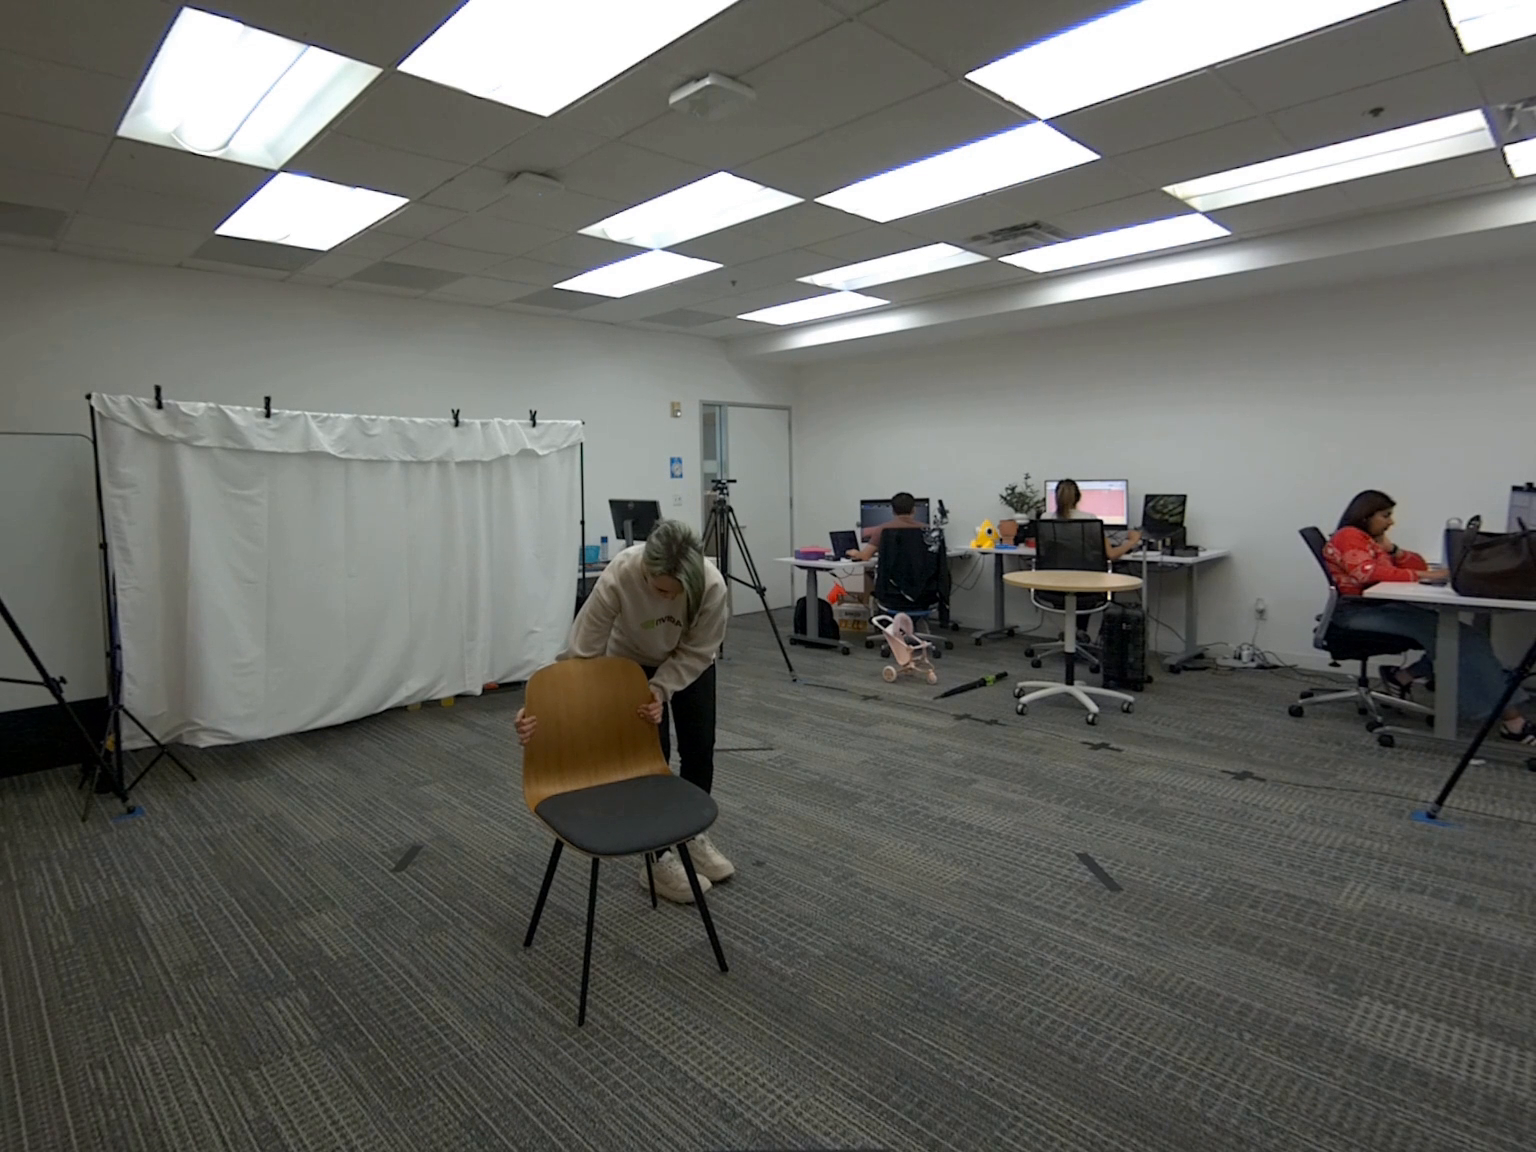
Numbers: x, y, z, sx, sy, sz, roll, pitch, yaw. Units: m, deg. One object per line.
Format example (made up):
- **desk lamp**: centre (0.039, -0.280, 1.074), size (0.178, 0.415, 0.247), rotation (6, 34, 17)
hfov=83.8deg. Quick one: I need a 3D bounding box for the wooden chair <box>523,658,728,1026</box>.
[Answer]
- **wooden chair**: centre (-0.429, 0.705, 2.465), size (0.466, 0.877, 0.536), rotation (-4, 1, -33)
